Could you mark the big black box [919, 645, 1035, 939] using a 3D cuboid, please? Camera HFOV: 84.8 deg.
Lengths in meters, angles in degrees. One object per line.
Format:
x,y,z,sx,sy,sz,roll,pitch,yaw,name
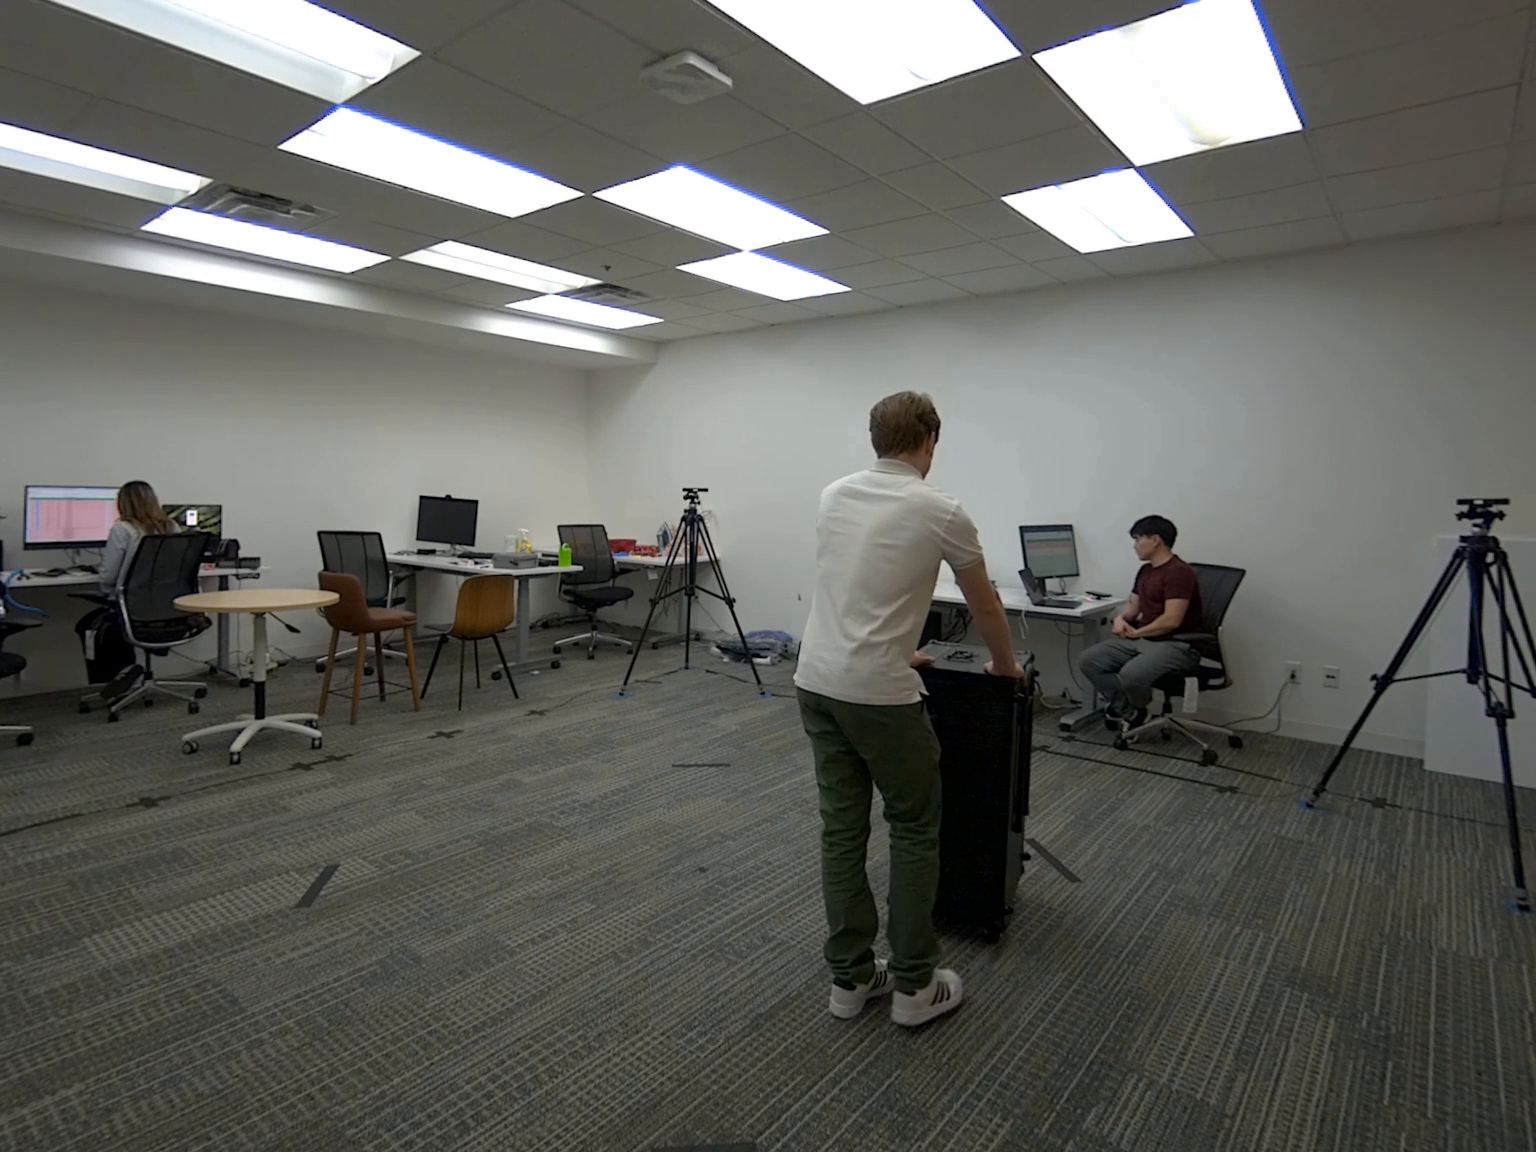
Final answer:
0.653,0.692,2.842,0.395,0.866,0.512,2,4,24,big black box
